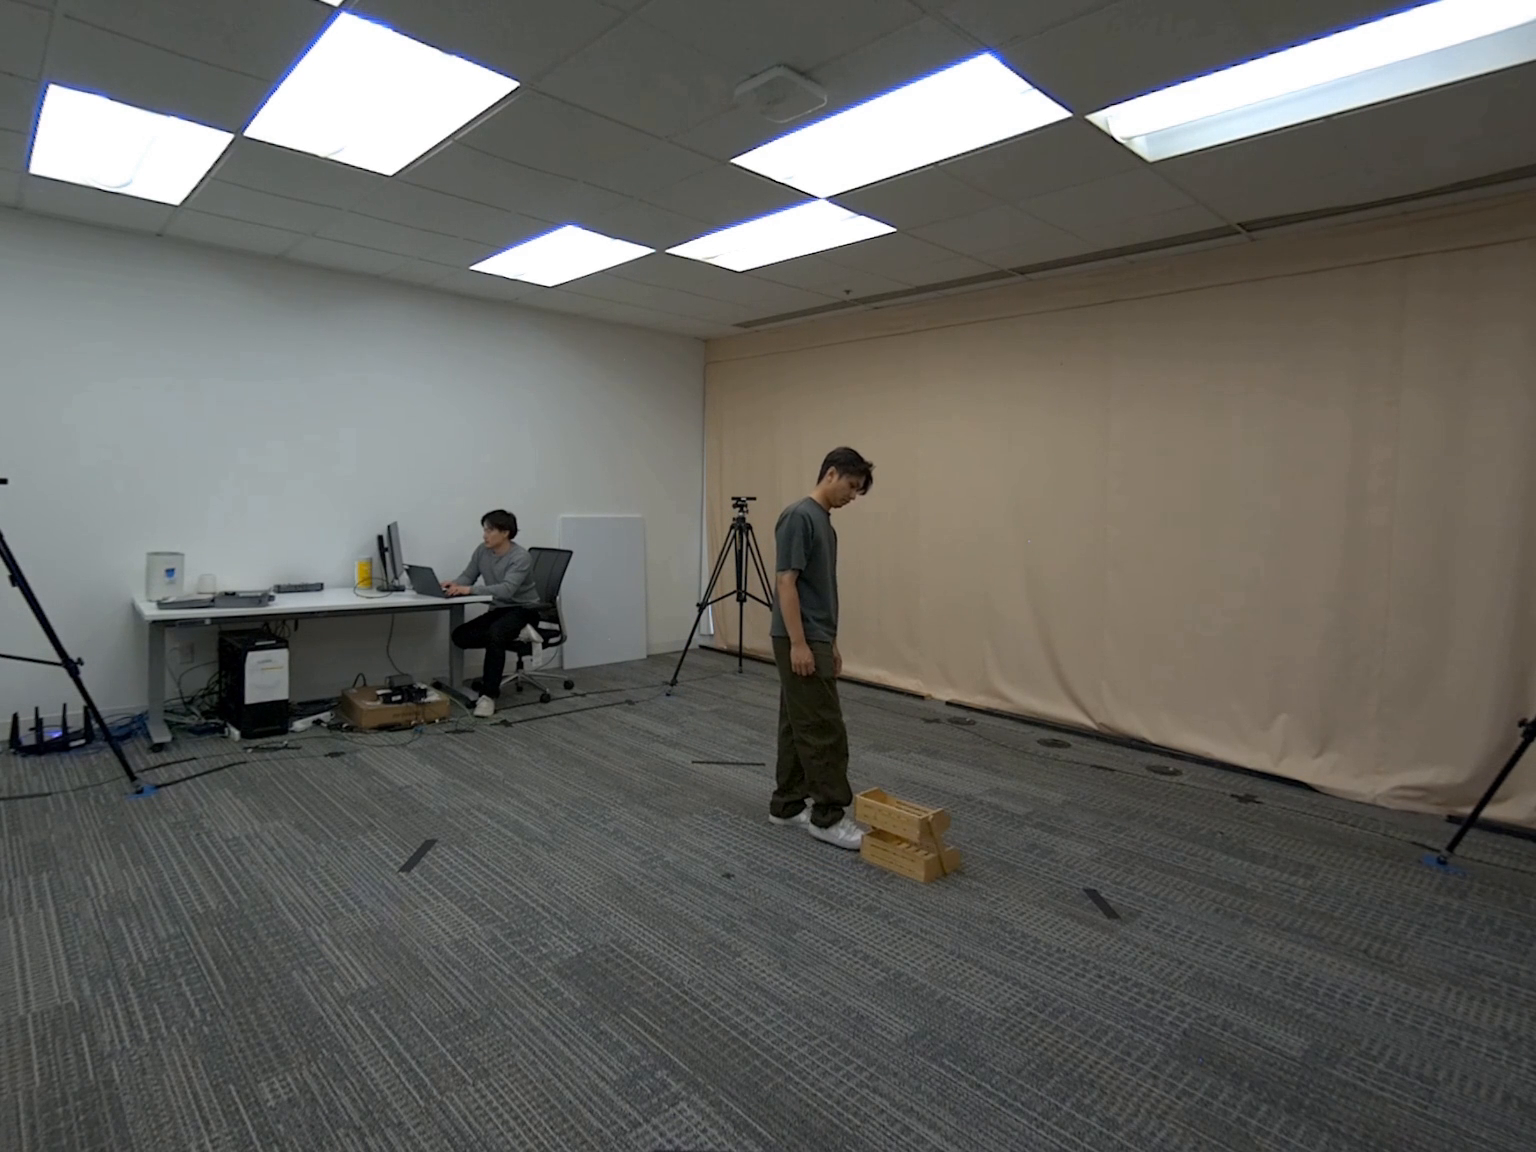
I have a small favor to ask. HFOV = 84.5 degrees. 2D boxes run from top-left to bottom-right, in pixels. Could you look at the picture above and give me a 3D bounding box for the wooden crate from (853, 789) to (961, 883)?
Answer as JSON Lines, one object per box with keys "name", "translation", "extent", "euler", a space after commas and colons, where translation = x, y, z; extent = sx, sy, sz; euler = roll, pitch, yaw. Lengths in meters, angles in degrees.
{"name": "wooden crate", "translation": [0.533, 0.976, 3.245], "extent": [0.333, 0.272, 0.295], "euler": [6, 7, 44]}
